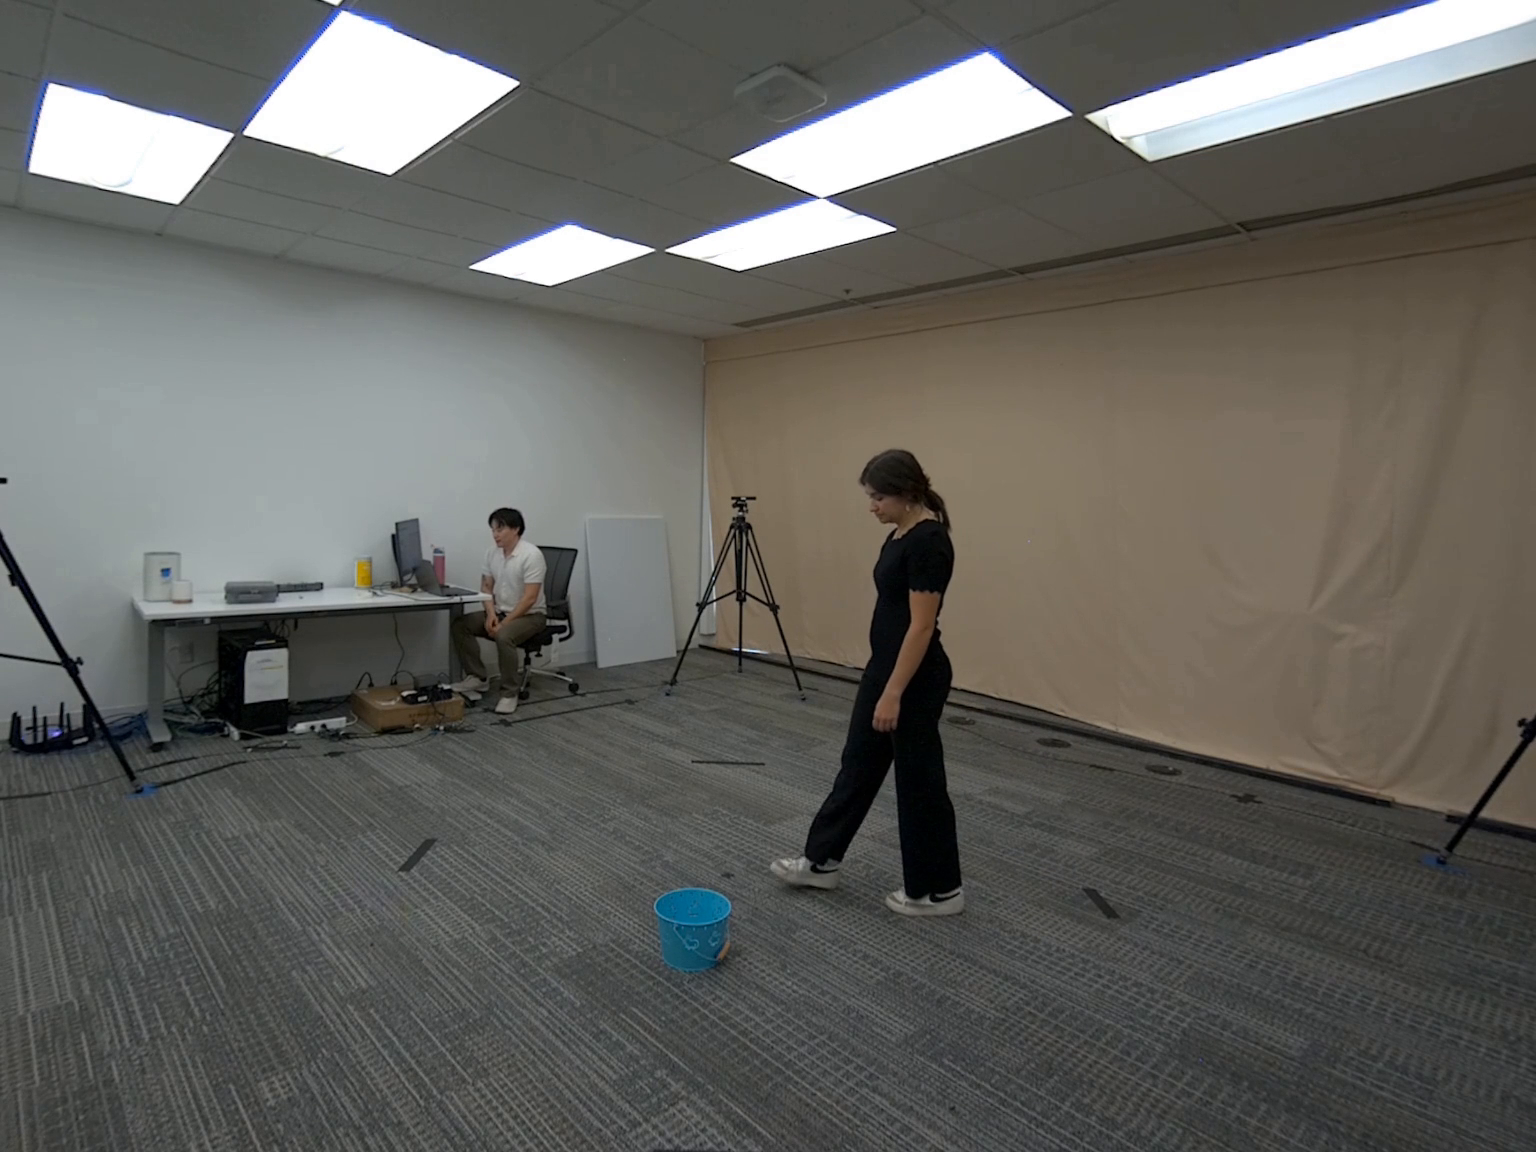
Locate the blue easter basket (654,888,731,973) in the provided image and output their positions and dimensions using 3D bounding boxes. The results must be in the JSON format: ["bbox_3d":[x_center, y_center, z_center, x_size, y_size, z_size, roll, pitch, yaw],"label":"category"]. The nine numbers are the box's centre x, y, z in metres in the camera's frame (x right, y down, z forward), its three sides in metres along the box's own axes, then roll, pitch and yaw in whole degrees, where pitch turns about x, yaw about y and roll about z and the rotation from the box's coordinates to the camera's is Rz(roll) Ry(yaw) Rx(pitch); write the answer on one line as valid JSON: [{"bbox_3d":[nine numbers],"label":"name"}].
[{"bbox_3d":[-0.236,1.076,2.549,0.243,0.155,0.244,1,5,-1],"label":"blue easter basket"}]
